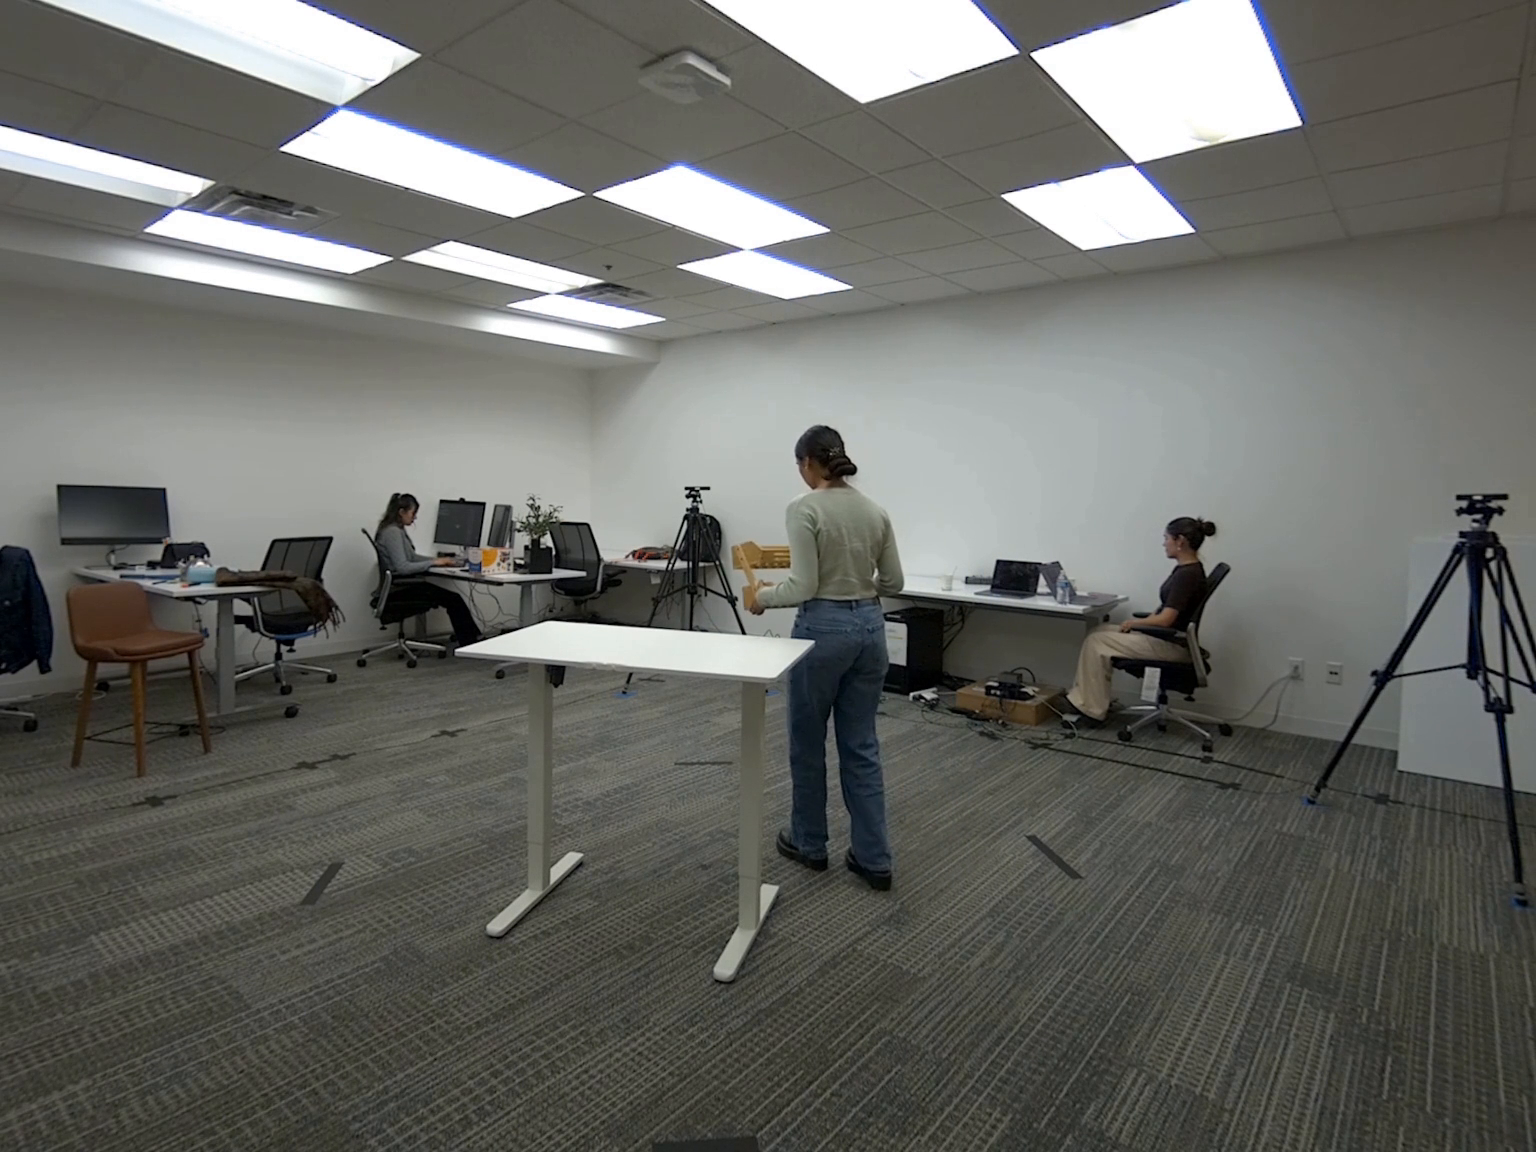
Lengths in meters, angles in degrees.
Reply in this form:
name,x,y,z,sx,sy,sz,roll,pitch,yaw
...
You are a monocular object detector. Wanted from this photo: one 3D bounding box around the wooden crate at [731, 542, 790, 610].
name,x,y,z,sx,sy,sz,roll,pitch,yaw
wooden crate,0.071,-0.015,3.314,0.315,0.276,0.308,-1,-9,-35
